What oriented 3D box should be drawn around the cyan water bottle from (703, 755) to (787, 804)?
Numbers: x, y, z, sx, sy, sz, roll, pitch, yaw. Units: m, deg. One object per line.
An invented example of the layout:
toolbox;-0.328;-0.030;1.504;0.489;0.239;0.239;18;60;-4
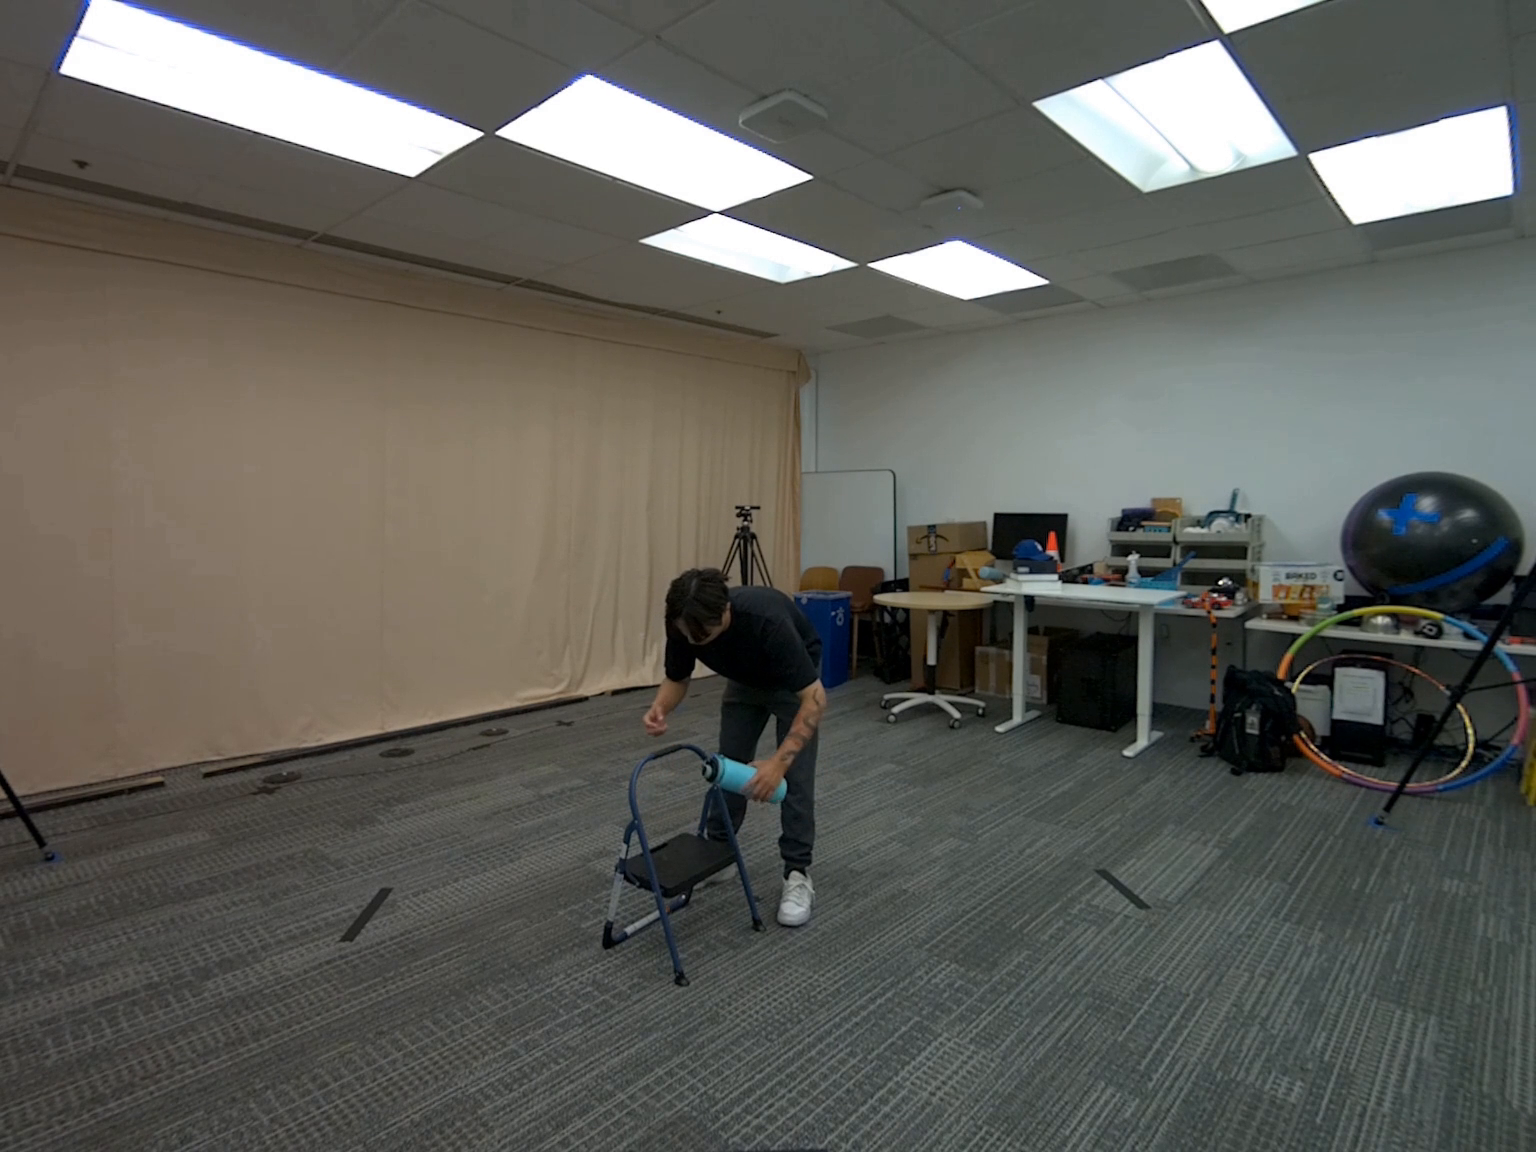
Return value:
cyan water bottle;-0.074;0.624;2.623;0.276;0.092;0.095;24;-7;-24
